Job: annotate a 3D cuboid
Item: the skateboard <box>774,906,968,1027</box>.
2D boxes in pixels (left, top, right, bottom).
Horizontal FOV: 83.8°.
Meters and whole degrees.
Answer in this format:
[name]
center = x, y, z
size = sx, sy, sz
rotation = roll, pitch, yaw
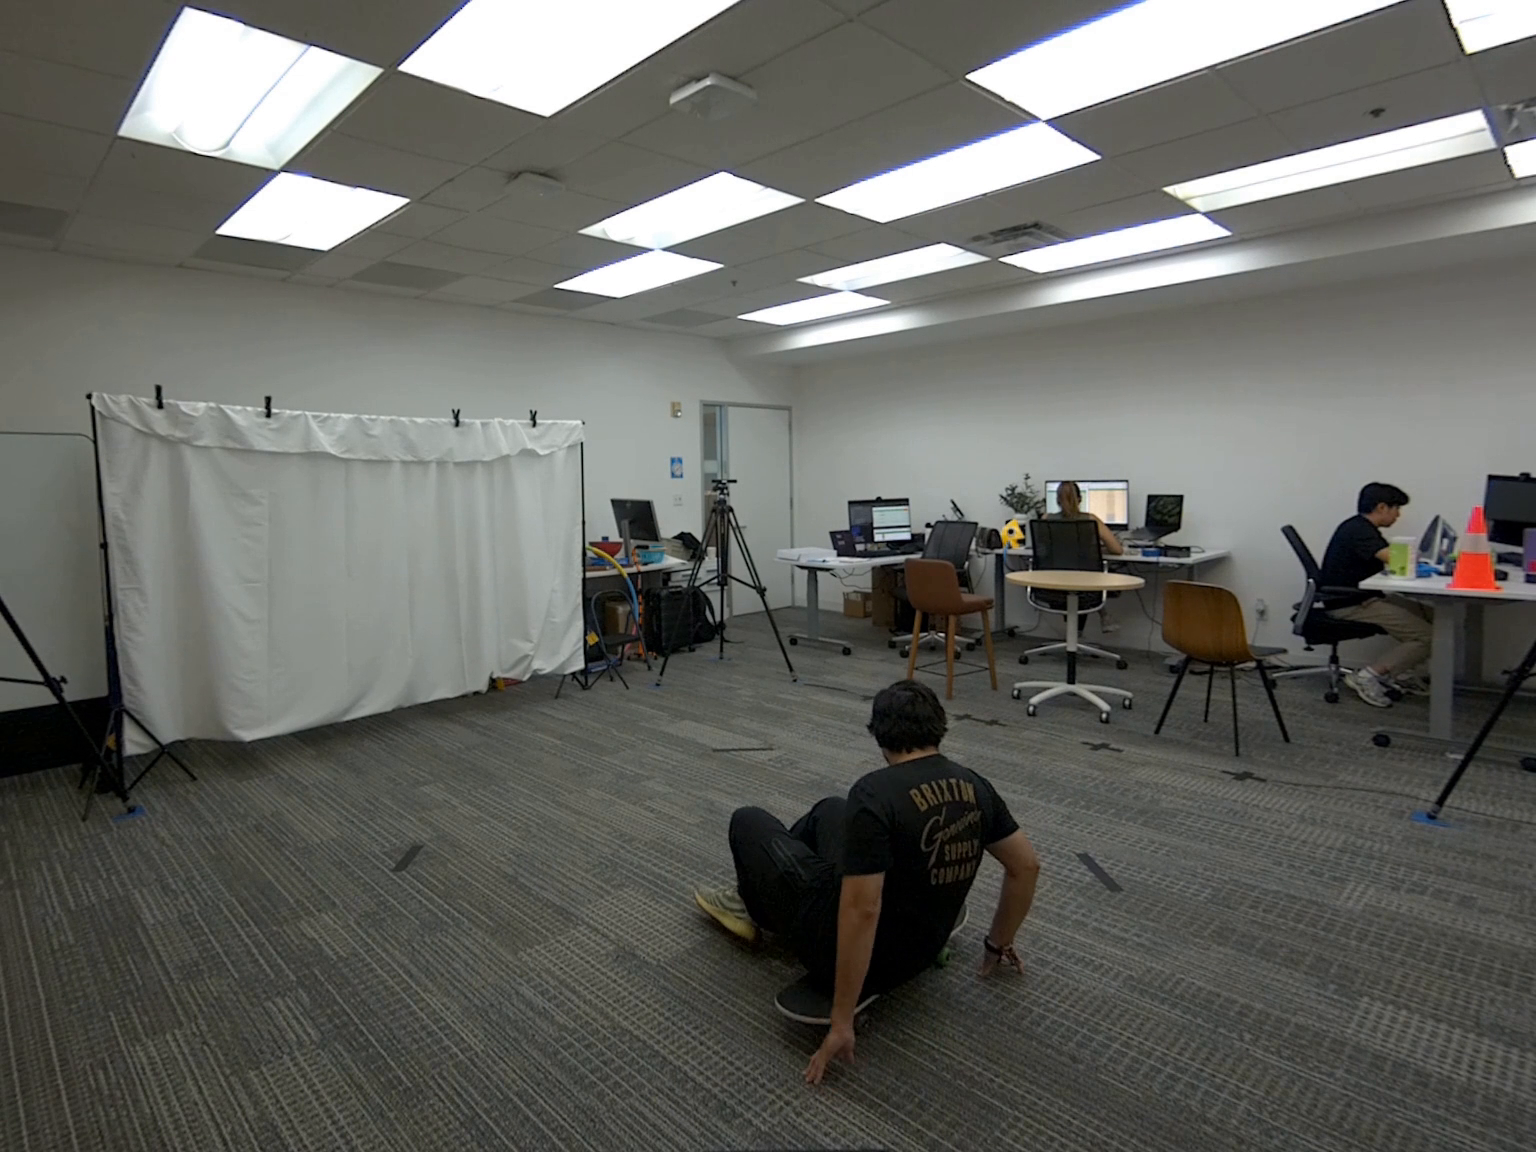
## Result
[skateboard]
center = 0.305, 1.073, 2.363
size = 0.765, 0.110, 0.199
rotation = -8, 6, -42
